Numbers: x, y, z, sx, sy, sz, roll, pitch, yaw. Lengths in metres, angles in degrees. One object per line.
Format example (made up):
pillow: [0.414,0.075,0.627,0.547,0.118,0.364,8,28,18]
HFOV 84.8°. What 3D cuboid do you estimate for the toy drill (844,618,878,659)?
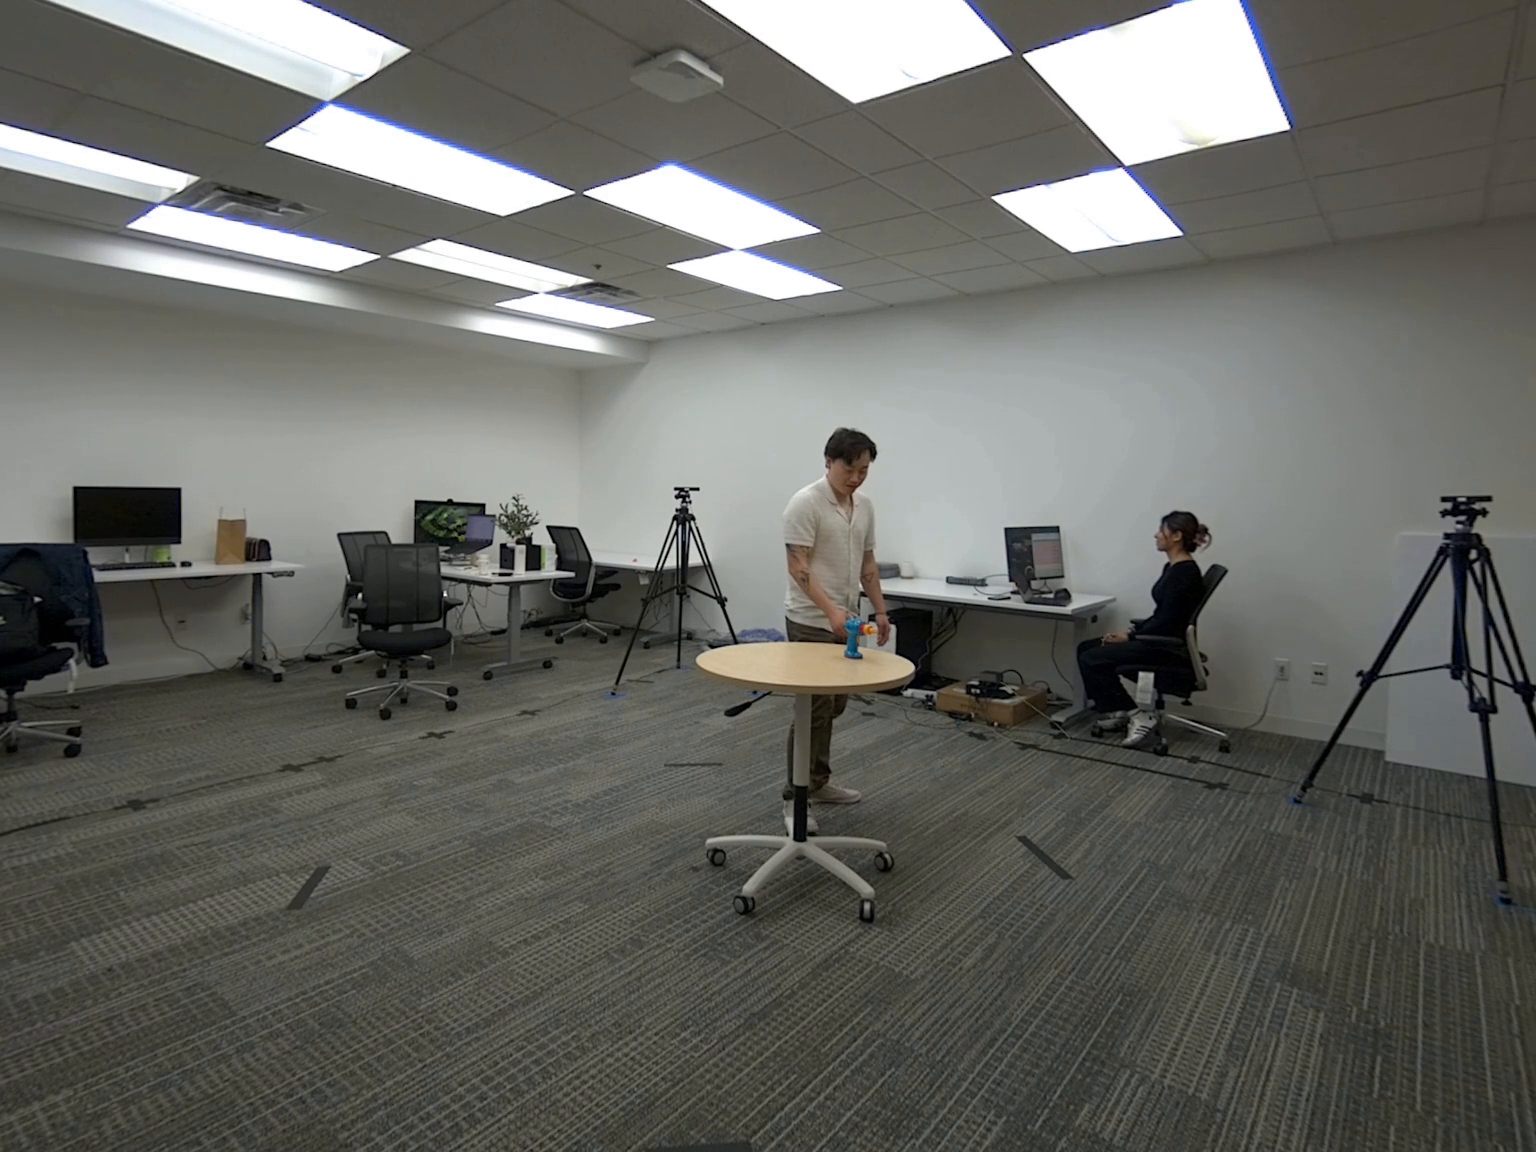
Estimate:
toy drill: [0.323,0.224,3.066,0.059,0.145,0.175,-3,4,-33]
